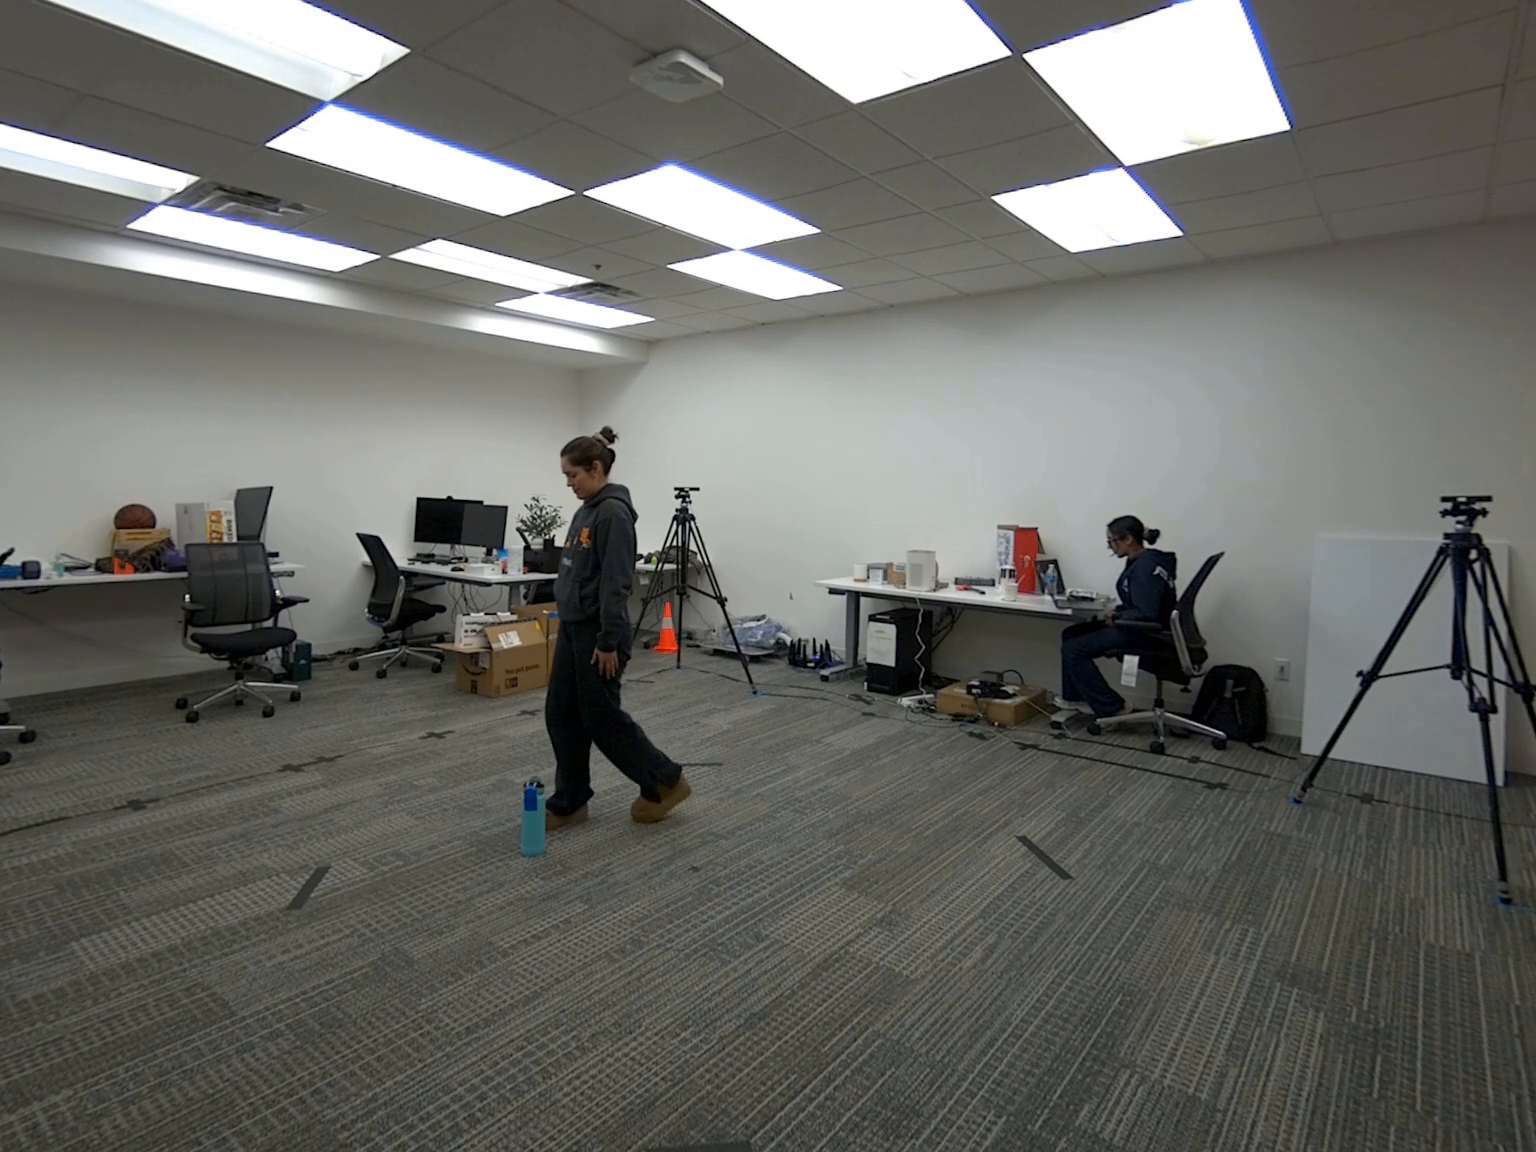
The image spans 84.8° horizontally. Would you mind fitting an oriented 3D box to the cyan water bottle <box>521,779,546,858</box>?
[{"bbox_3d":[-0.908,0.906,3.222,0.092,0.282,0.093,1,3,-2],"label":"cyan water bottle"}]
